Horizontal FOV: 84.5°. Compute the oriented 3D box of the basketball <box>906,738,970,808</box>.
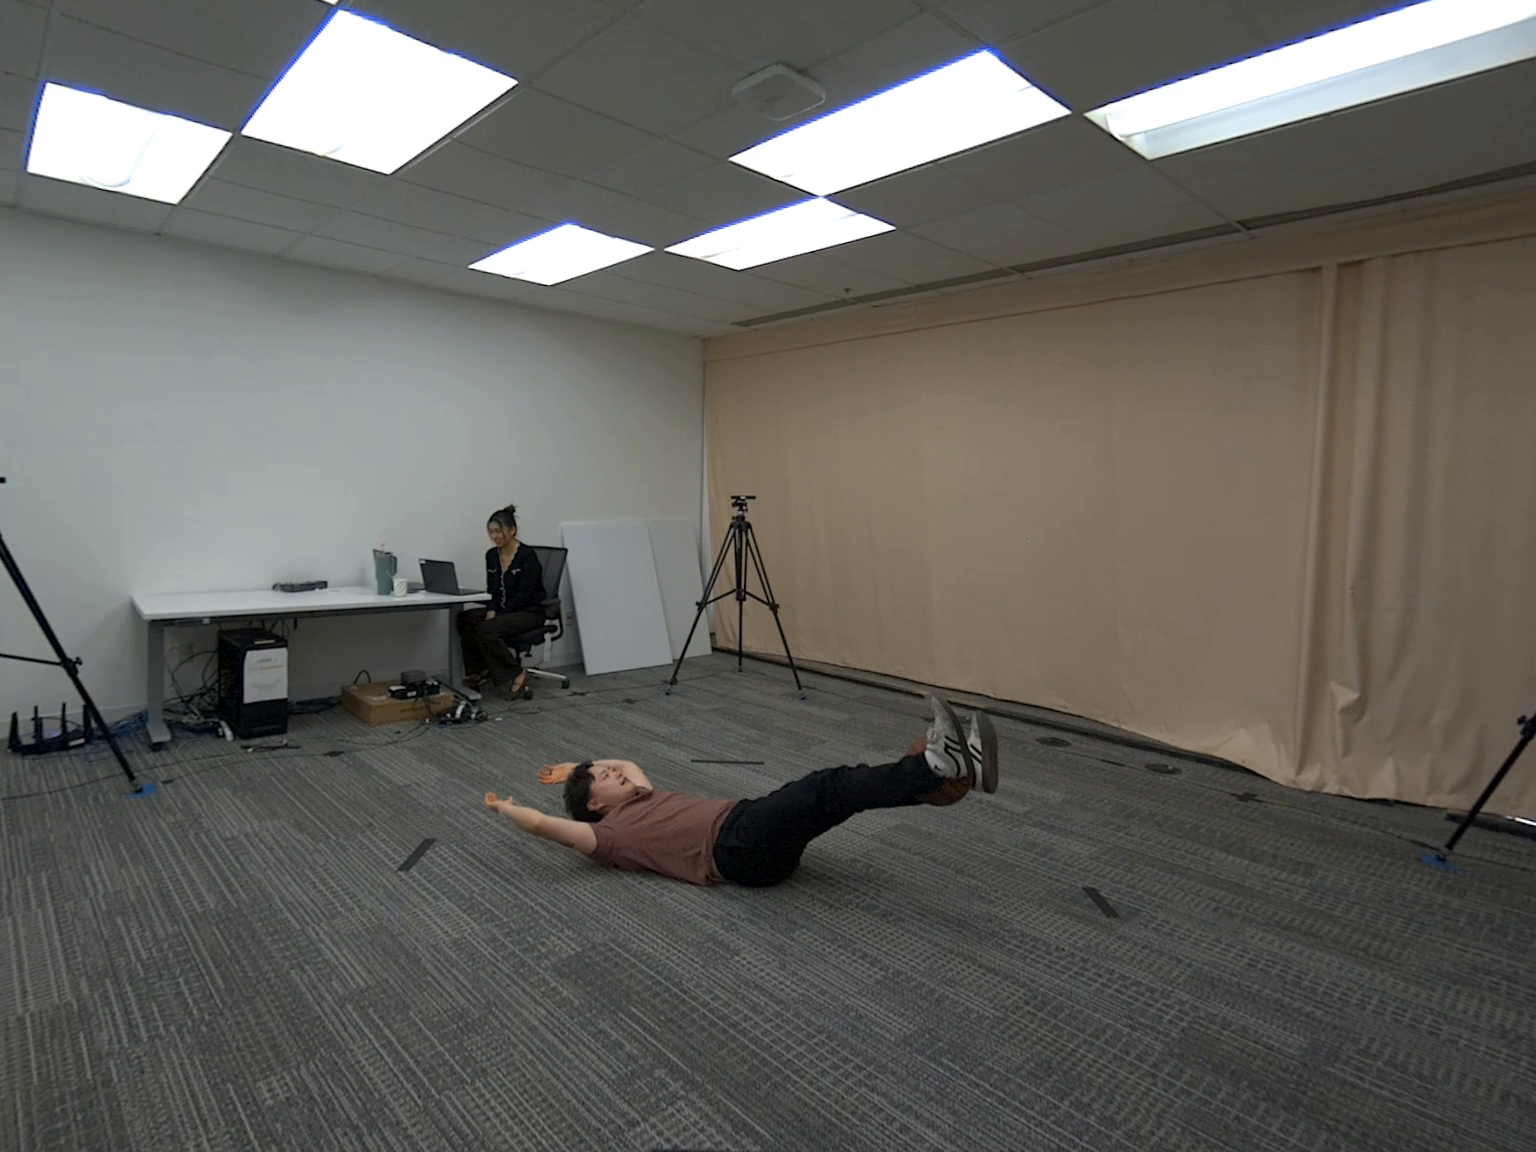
[{"bbox_3d":[0.575,0.664,2.866,0.236,0.234,0.237,0,8,-1],"label":"basketball"}]
